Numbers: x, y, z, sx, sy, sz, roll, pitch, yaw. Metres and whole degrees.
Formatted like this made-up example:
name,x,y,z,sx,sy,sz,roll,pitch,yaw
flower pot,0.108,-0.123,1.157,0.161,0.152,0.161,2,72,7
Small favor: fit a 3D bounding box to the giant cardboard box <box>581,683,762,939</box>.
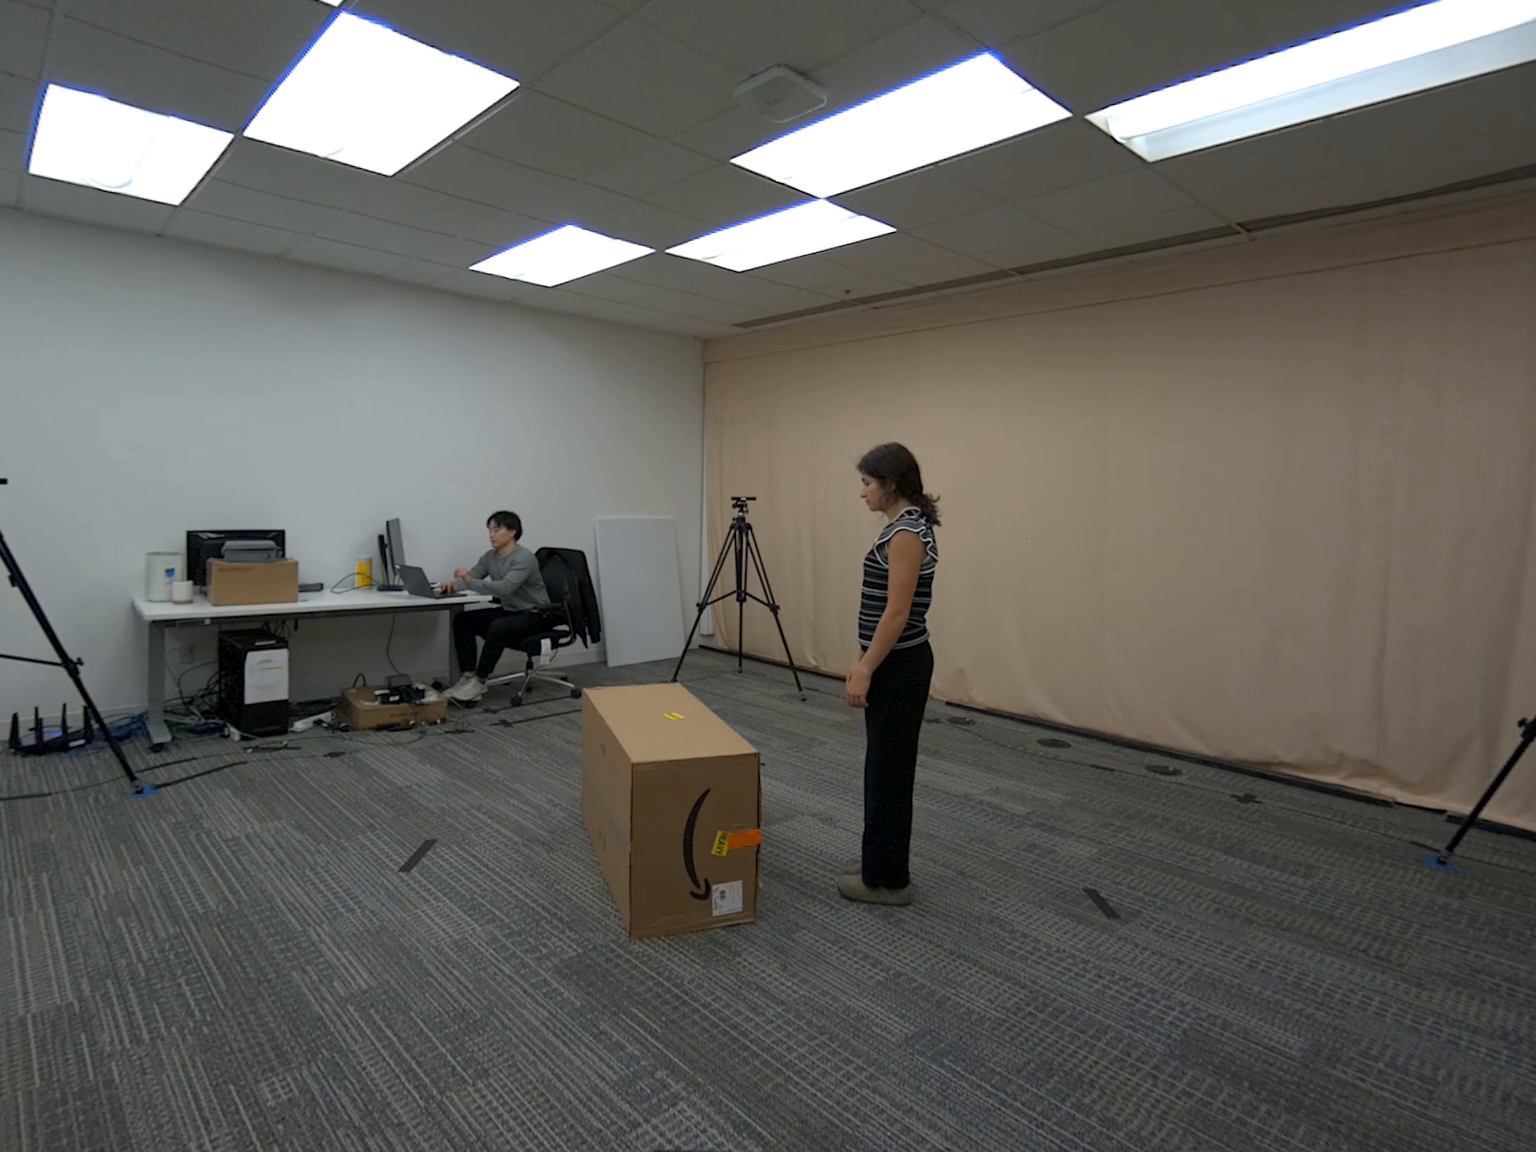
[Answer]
name,x,y,z,sx,sy,sz,roll,pitch,yaw
giant cardboard box,-0.418,0.808,3.163,0.420,0.576,1.044,0,5,-20
